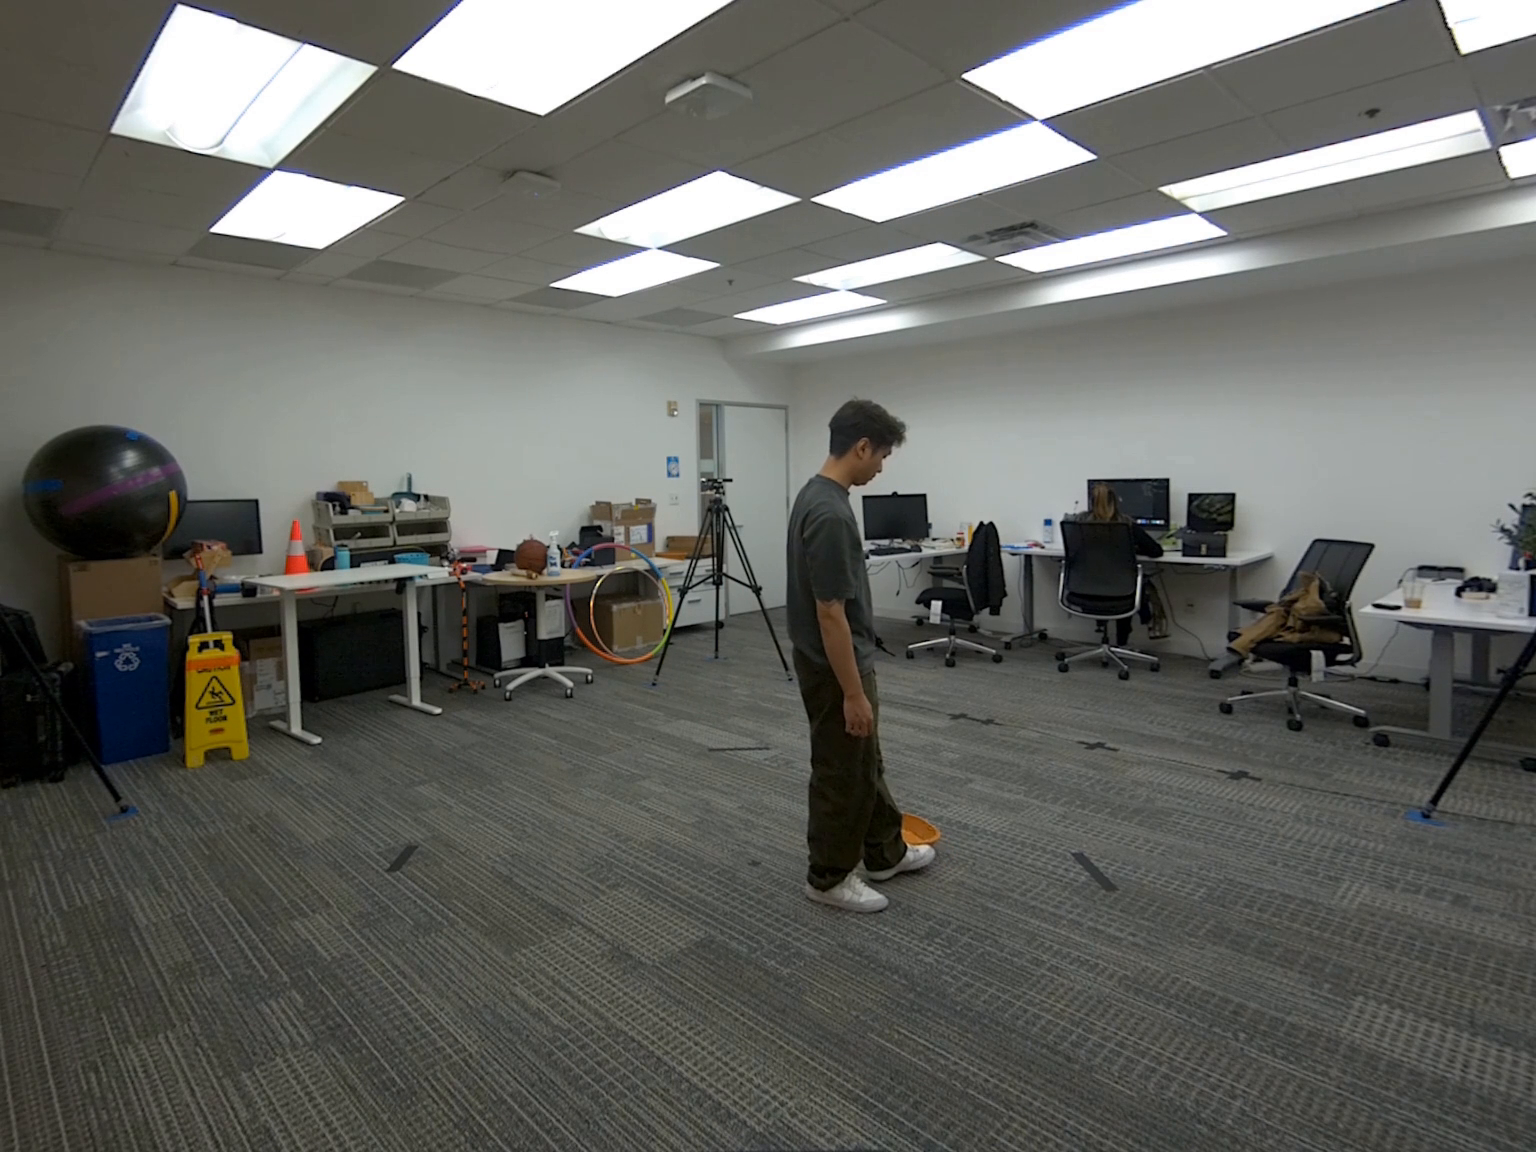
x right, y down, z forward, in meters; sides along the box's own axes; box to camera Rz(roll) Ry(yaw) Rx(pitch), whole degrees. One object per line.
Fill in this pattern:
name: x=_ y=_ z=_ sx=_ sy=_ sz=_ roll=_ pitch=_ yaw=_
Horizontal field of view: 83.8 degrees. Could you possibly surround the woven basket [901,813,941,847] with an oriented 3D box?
woven basket: x=0.507 y=0.979 z=3.233 sx=0.250 sy=0.073 sz=0.355 roll=-2 pitch=3 yaw=-13
